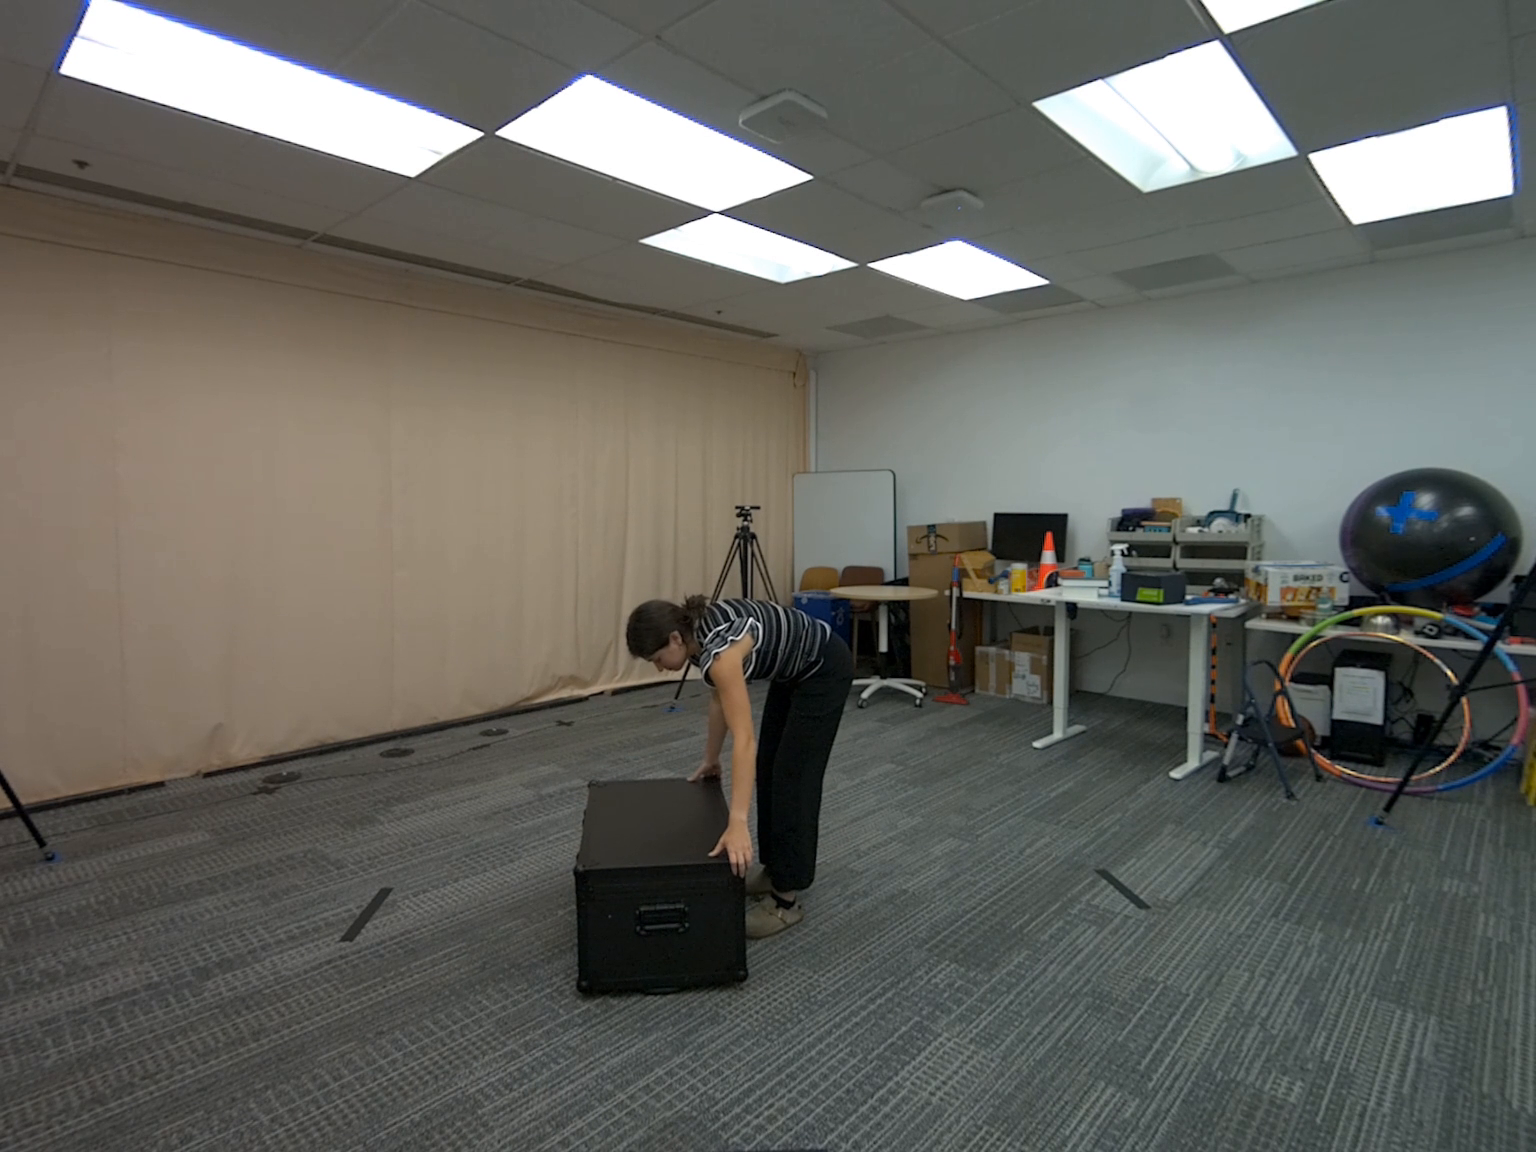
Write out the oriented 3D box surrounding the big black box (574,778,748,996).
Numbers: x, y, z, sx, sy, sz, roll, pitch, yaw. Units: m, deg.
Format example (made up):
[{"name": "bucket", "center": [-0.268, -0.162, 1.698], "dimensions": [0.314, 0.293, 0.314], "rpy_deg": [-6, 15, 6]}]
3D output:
[{"name": "big black box", "center": [-0.365, 0.974, 2.805], "dimensions": [0.517, 0.395, 0.871], "rpy_deg": [-3, 5, -9]}]
